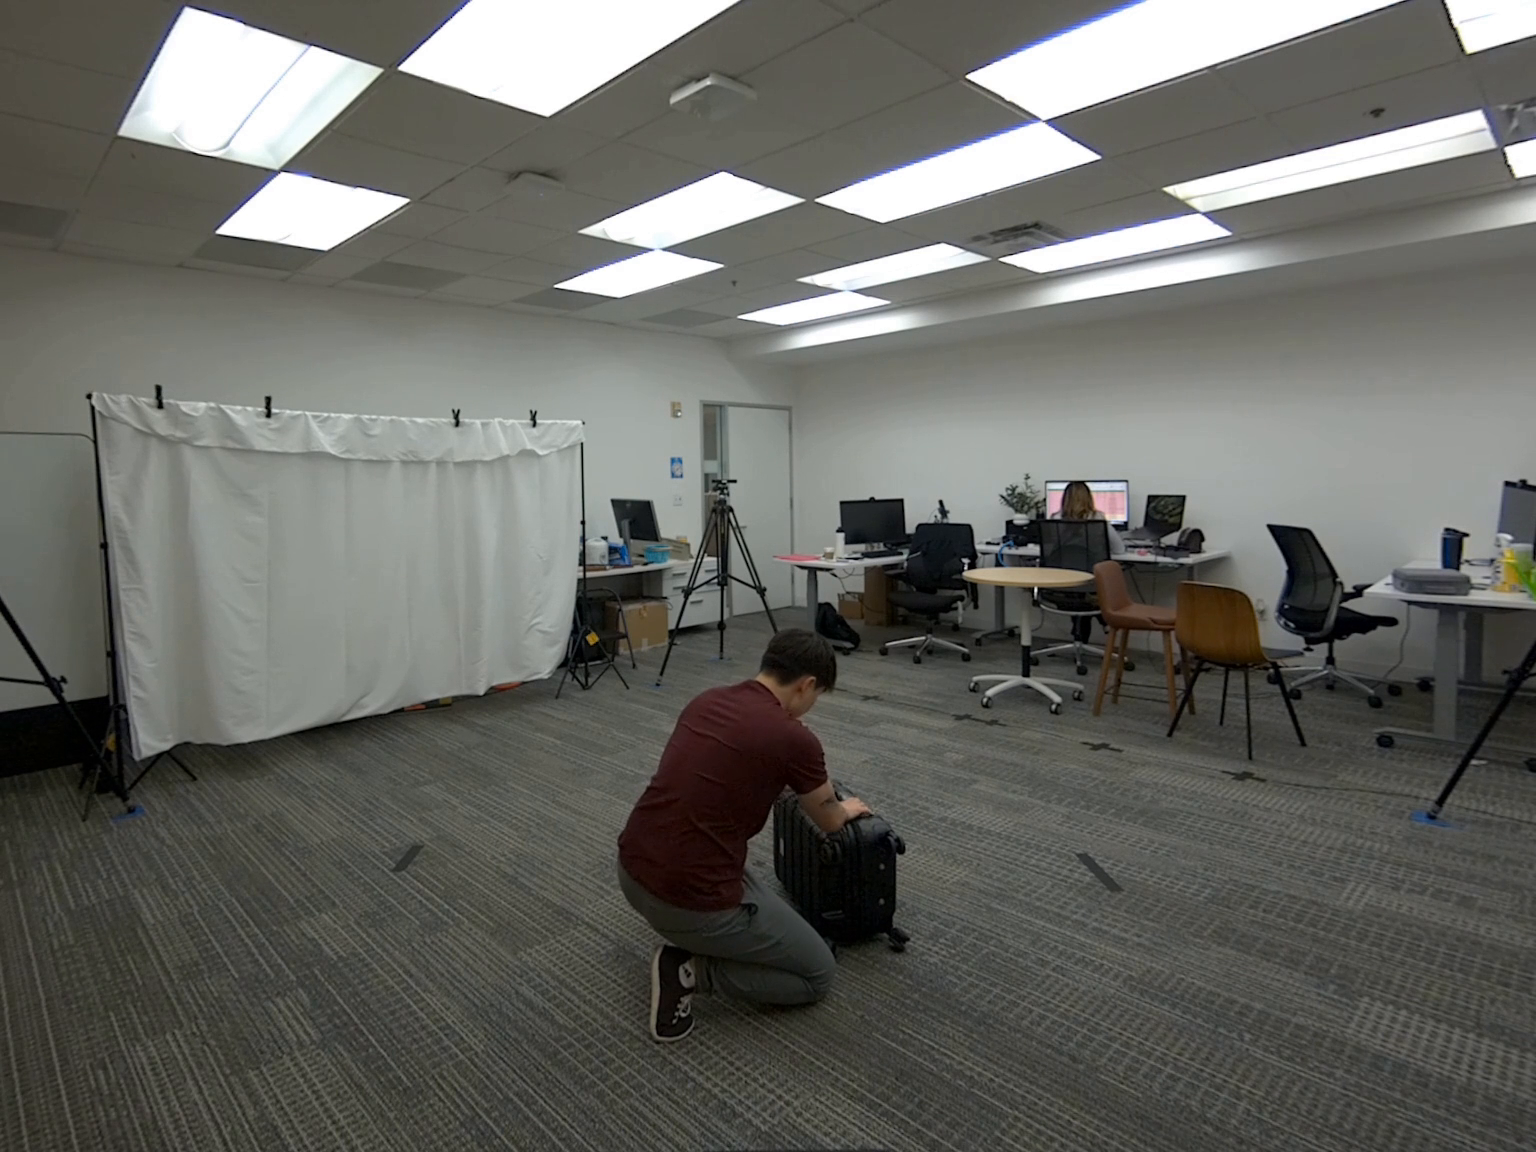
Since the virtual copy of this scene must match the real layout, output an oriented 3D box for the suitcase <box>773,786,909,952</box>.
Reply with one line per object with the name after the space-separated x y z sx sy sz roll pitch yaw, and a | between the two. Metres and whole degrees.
0.137 0.870 2.943 0.253 0.382 0.999 -3 7 -19 | suitcase
